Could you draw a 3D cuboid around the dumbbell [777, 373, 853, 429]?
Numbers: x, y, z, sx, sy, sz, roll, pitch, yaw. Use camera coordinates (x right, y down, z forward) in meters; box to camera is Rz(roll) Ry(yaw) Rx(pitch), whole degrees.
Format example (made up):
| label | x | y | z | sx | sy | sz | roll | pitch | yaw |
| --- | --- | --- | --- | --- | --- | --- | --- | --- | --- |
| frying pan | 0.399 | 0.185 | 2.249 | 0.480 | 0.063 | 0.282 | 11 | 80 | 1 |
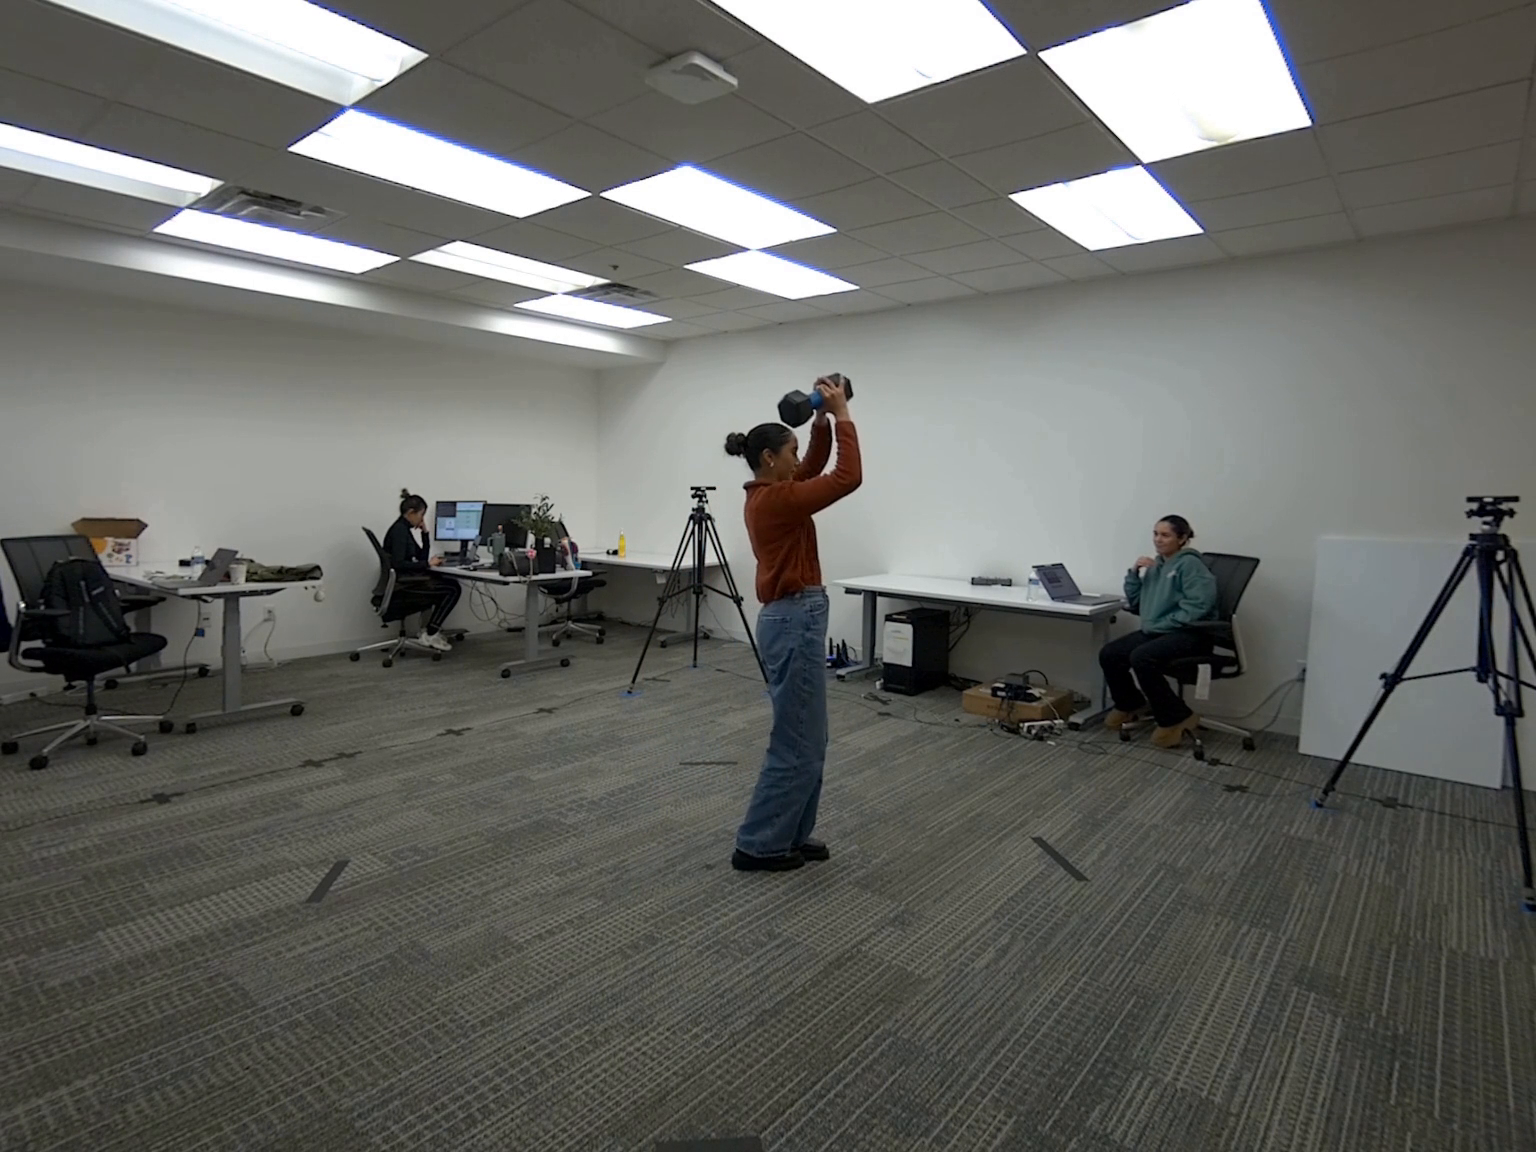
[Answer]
| label | x | y | z | sx | sy | sz | roll | pitch | yaw |
| --- | --- | --- | --- | --- | --- | --- | --- | --- | --- |
| dumbbell | 0.154 | -0.616 | 2.986 | 0.290 | 0.120 | 0.112 | -30 | 24 | -34 |
